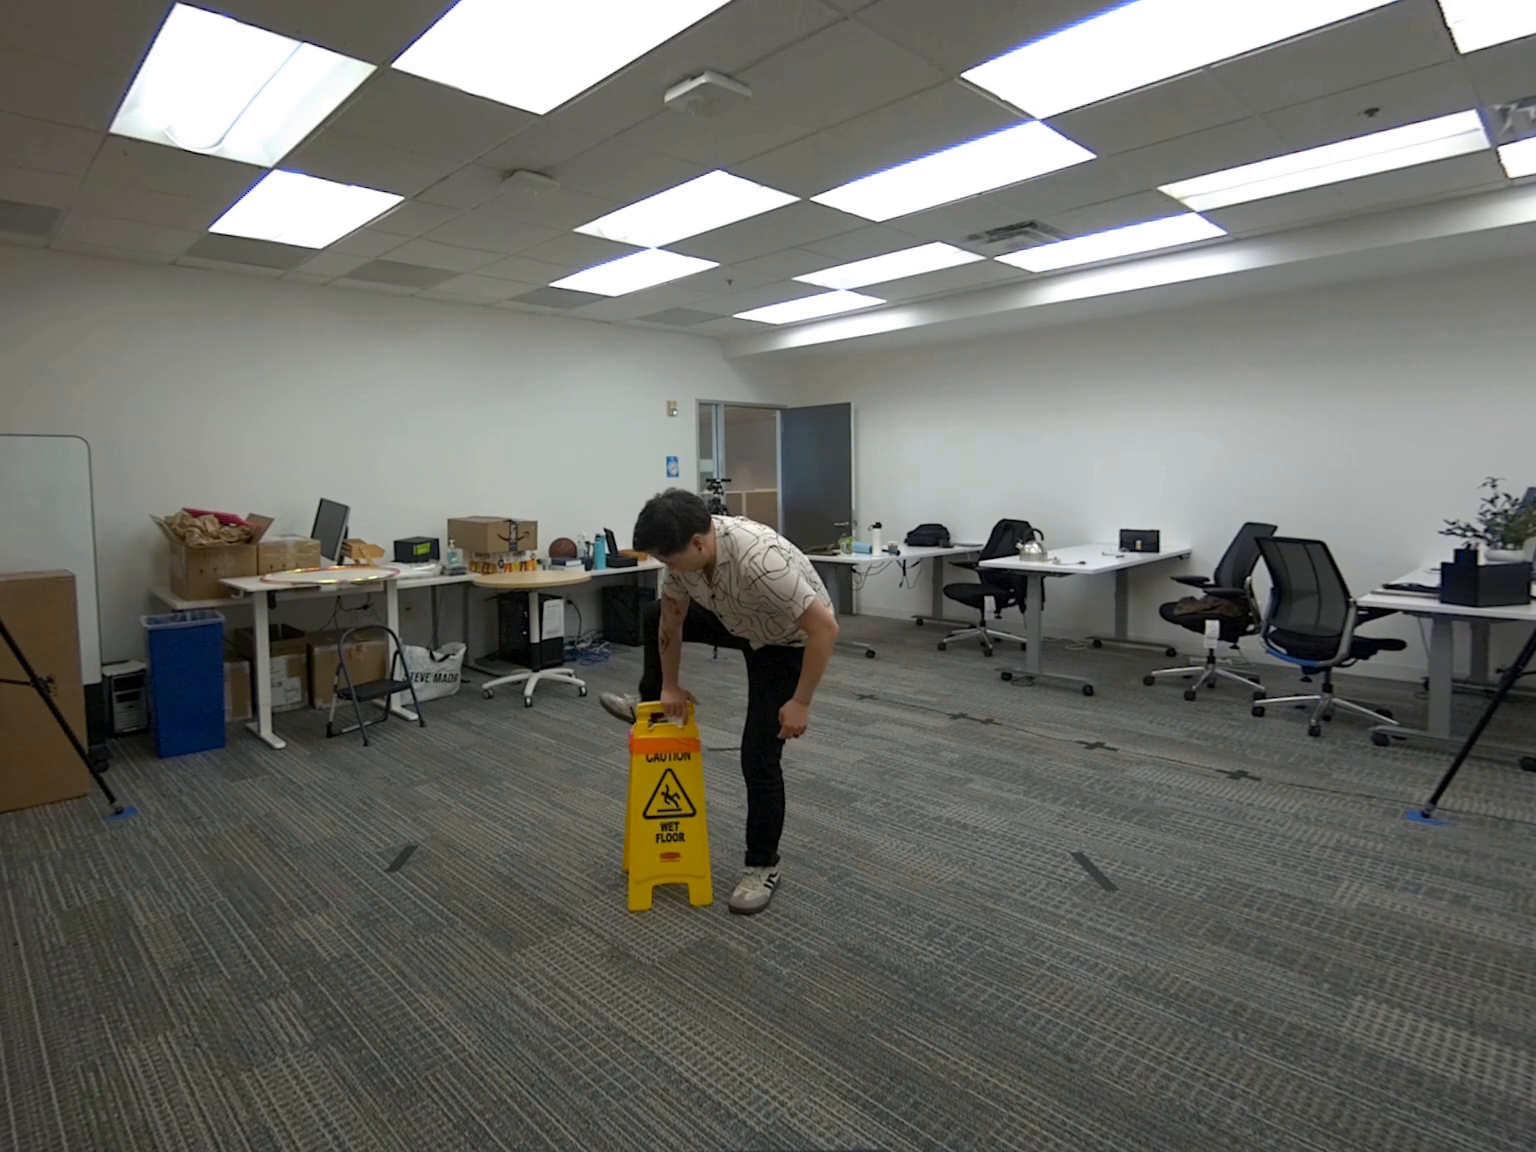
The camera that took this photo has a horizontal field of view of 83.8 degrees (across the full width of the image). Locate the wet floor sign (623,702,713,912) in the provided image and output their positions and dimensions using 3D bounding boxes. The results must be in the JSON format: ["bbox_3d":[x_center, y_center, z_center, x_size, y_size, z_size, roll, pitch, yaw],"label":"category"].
[{"bbox_3d":[-0.350,0.746,2.917,0.279,0.643,0.294,-2,5,-12],"label":"wet floor sign"}]
